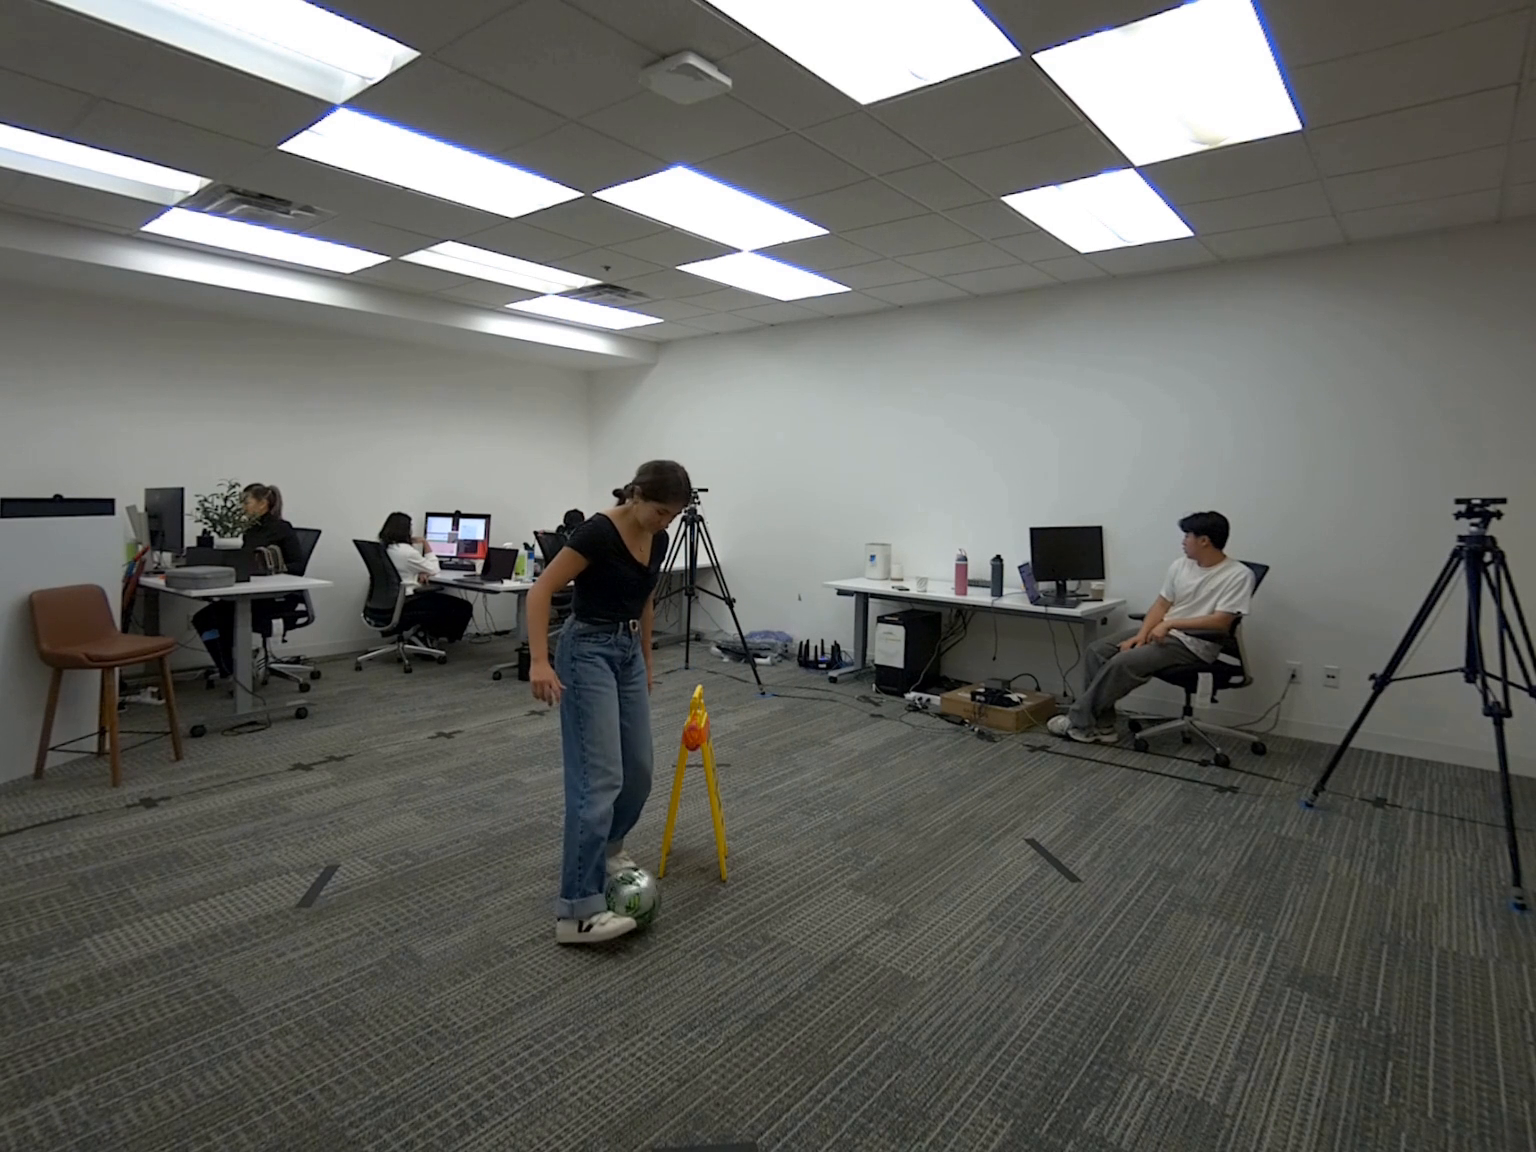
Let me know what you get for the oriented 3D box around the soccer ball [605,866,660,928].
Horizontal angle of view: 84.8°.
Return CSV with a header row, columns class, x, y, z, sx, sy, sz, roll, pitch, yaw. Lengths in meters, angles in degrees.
class,x,y,z,sx,sy,sz,roll,pitch,yaw
soccer ball,-0.427,1.014,2.688,0.187,0.187,0.188,1,4,-2
